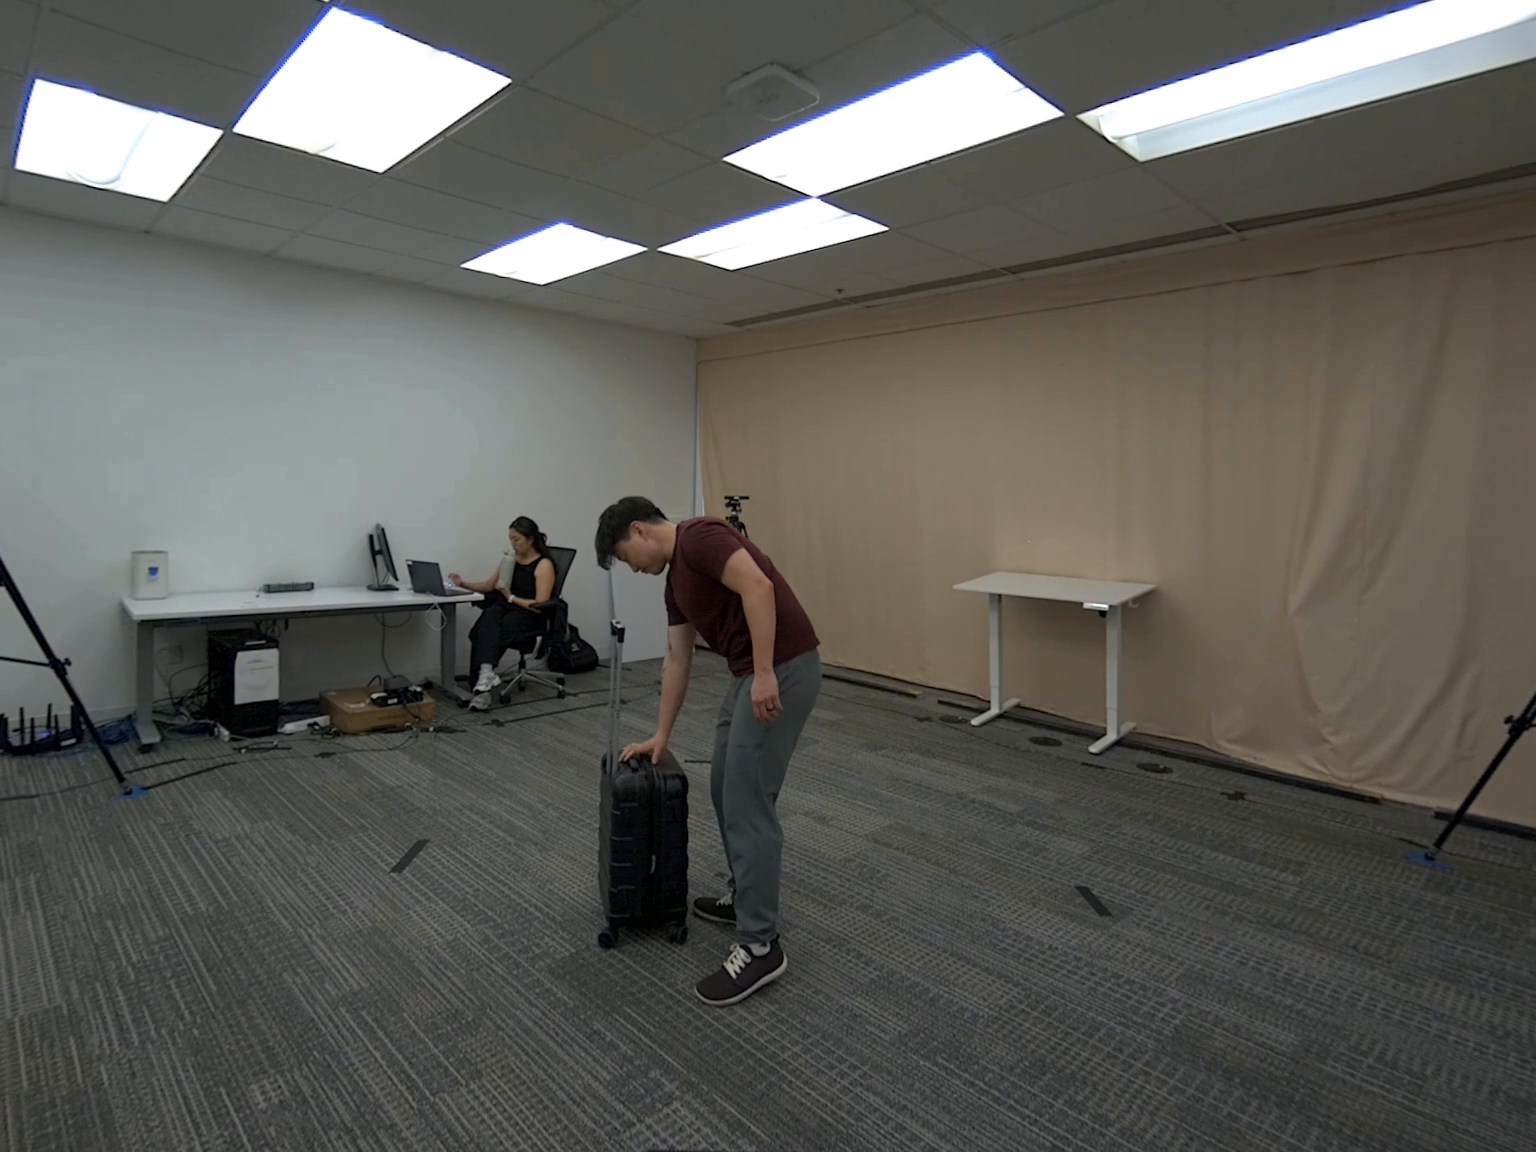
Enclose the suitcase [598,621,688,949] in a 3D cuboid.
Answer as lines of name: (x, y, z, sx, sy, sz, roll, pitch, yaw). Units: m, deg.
suitcase: (-0.420, 0.656, 2.743, 0.254, 0.976, 0.388, -1, 3, -13)
